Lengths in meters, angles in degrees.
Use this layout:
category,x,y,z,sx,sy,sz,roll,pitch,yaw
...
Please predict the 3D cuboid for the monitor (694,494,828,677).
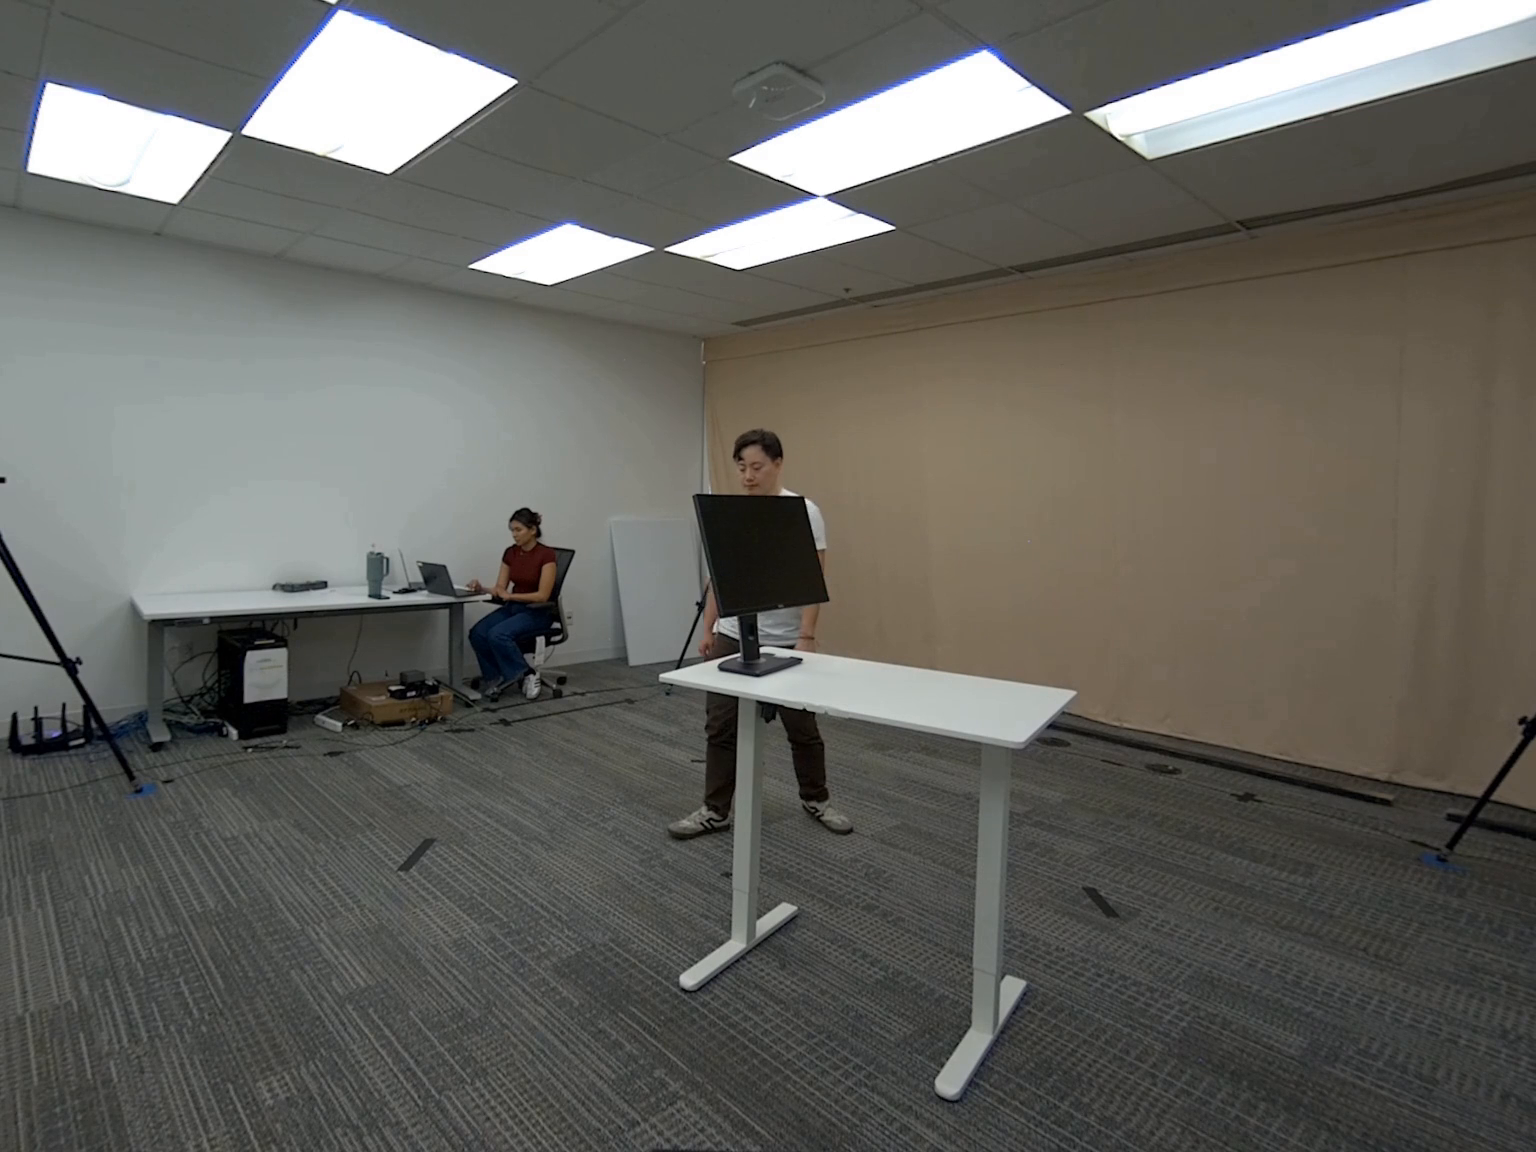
category,x,y,z,sx,sy,sz,roll,pitch,yaw
monitor,-0.034,0.020,2.524,0.191,0.522,0.528,1,3,33
